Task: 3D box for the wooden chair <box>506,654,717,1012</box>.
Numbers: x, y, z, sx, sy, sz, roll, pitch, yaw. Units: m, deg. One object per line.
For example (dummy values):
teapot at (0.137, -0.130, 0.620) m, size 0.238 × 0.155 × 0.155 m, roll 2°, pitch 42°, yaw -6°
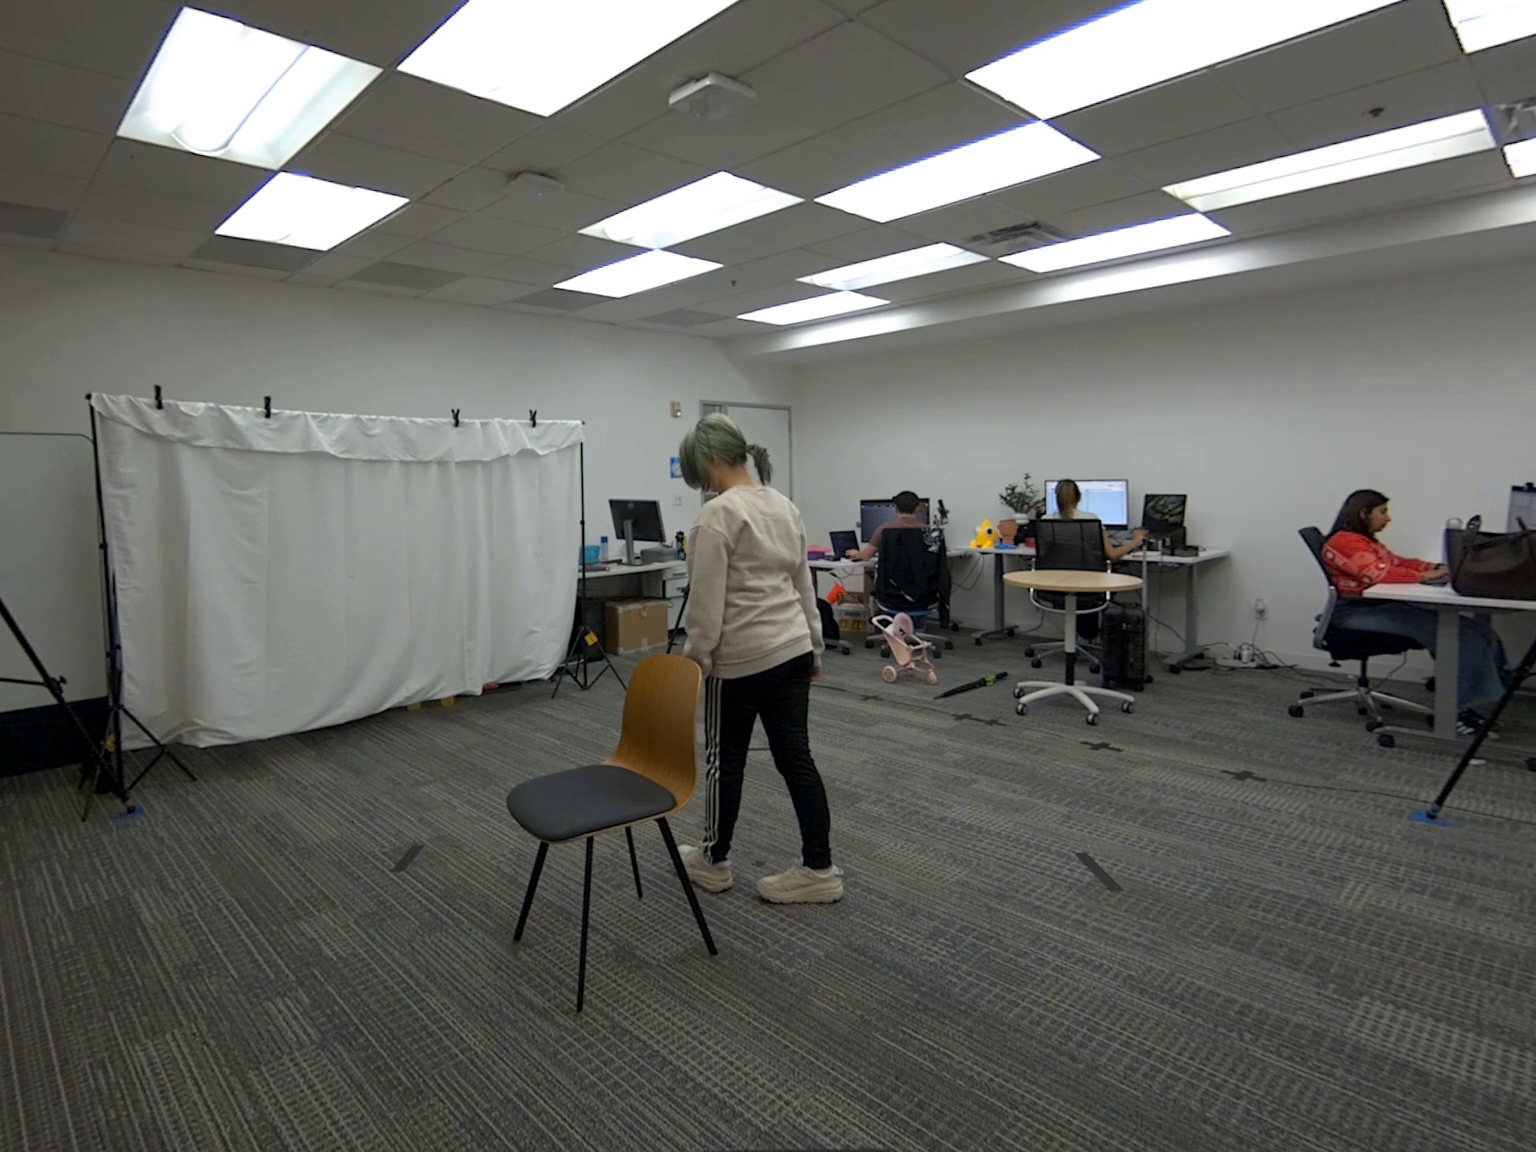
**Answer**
wooden chair at (-0.478, 0.695, 2.528) m, size 0.508 × 0.876 × 0.492 m, roll 1°, pitch 3°, yaw -37°
